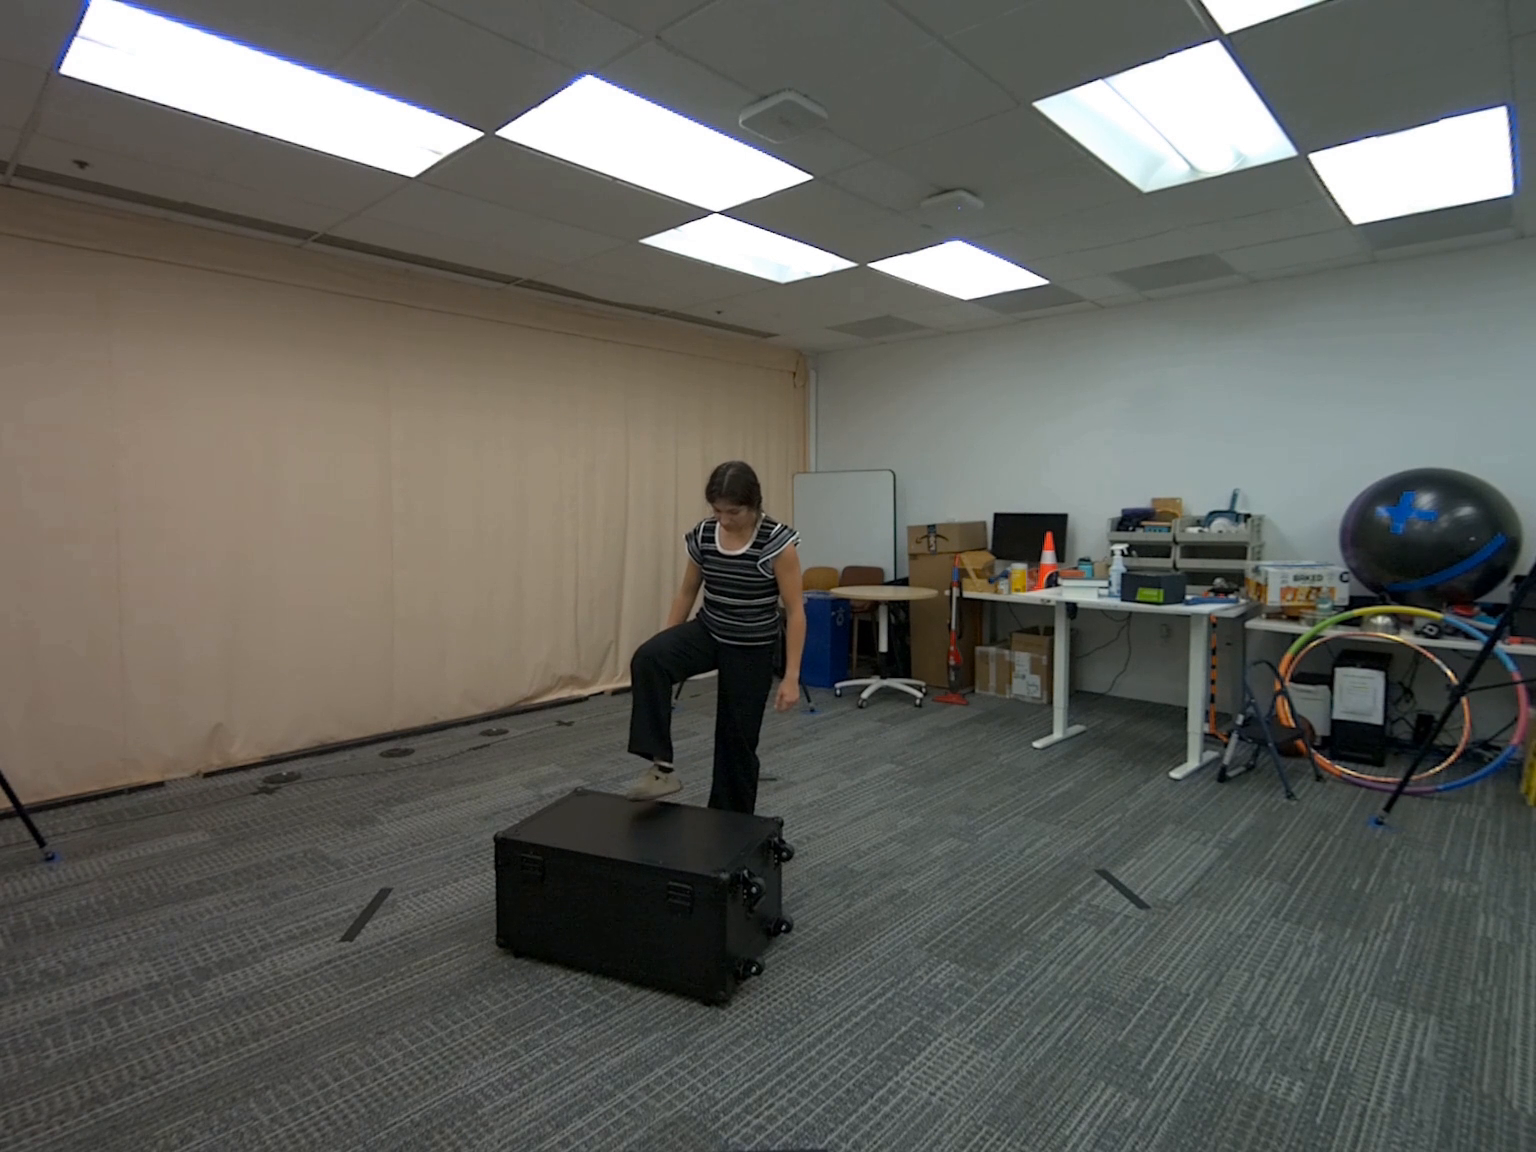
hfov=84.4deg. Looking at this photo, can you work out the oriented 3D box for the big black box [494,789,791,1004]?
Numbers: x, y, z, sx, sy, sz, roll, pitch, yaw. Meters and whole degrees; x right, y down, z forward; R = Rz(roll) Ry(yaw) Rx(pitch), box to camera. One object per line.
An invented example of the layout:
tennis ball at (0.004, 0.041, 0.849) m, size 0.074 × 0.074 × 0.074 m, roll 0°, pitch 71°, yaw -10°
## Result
big black box at (-0.367, 0.981, 2.664) m, size 0.881 × 0.395 × 0.510 m, roll 1°, pitch 3°, yaw 22°
